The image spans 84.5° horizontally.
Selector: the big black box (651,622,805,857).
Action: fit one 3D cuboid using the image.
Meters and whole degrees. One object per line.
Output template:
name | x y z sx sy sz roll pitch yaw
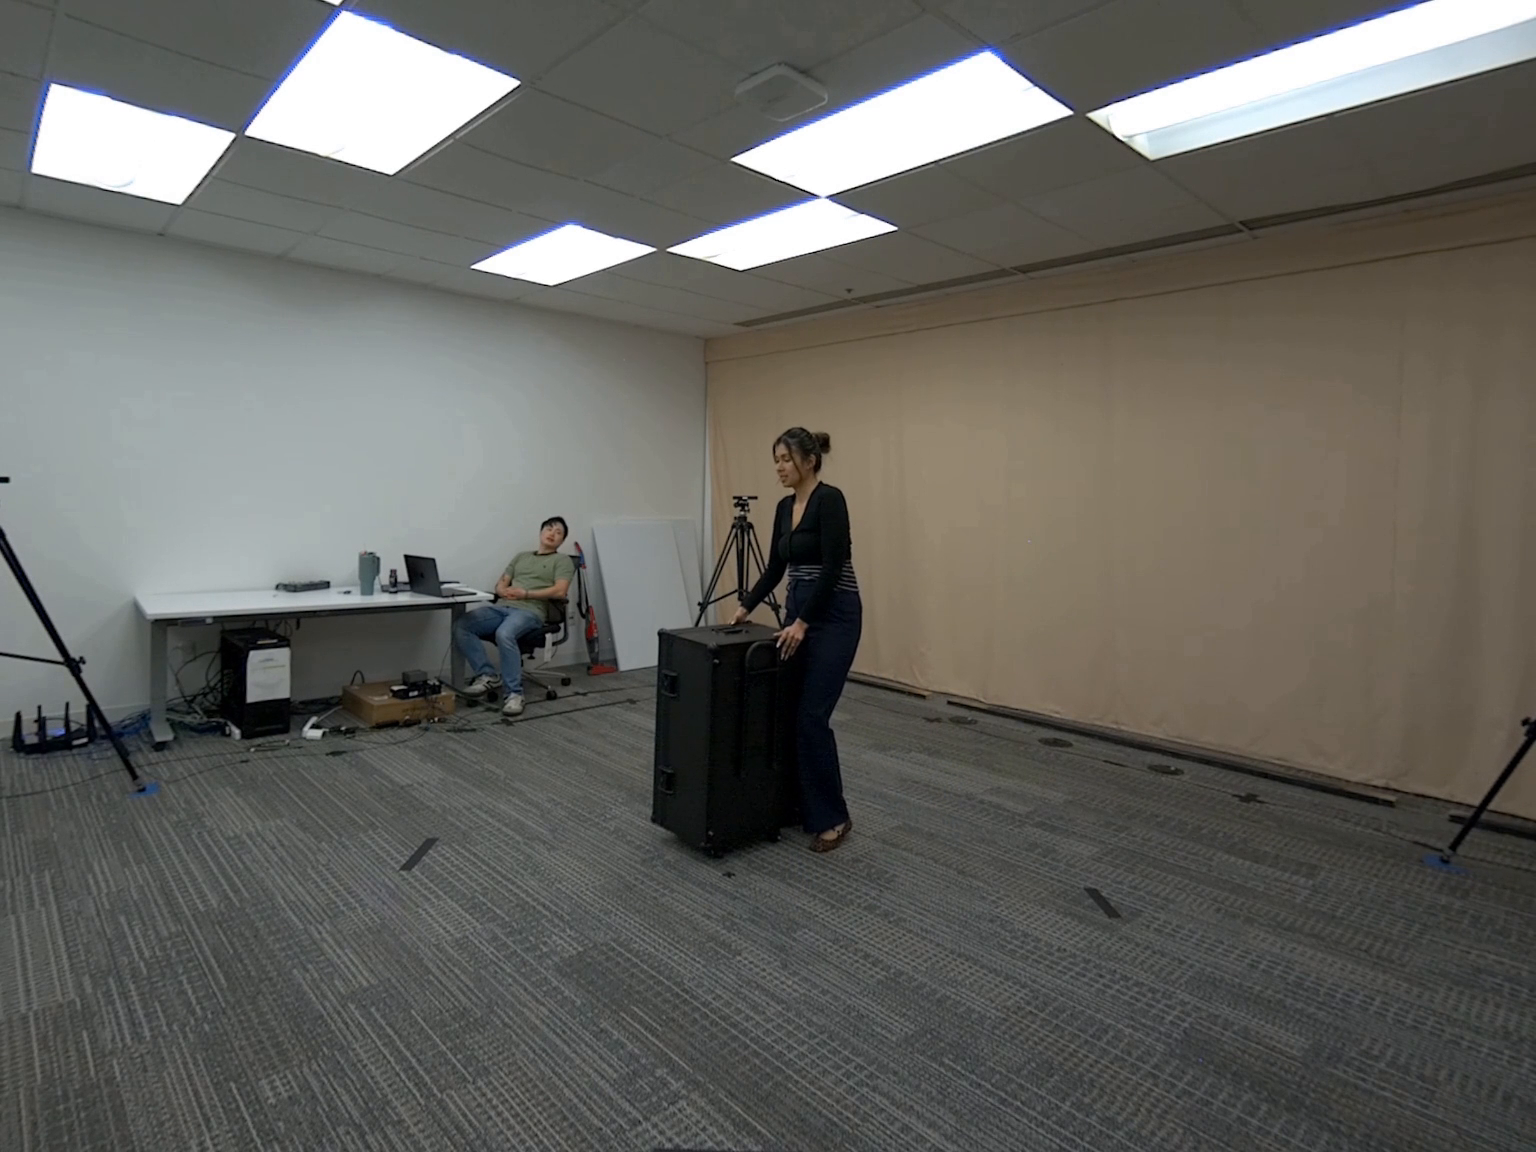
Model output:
big black box | -0.167 0.598 3.366 0.509 0.859 0.406 -2 6 -40
